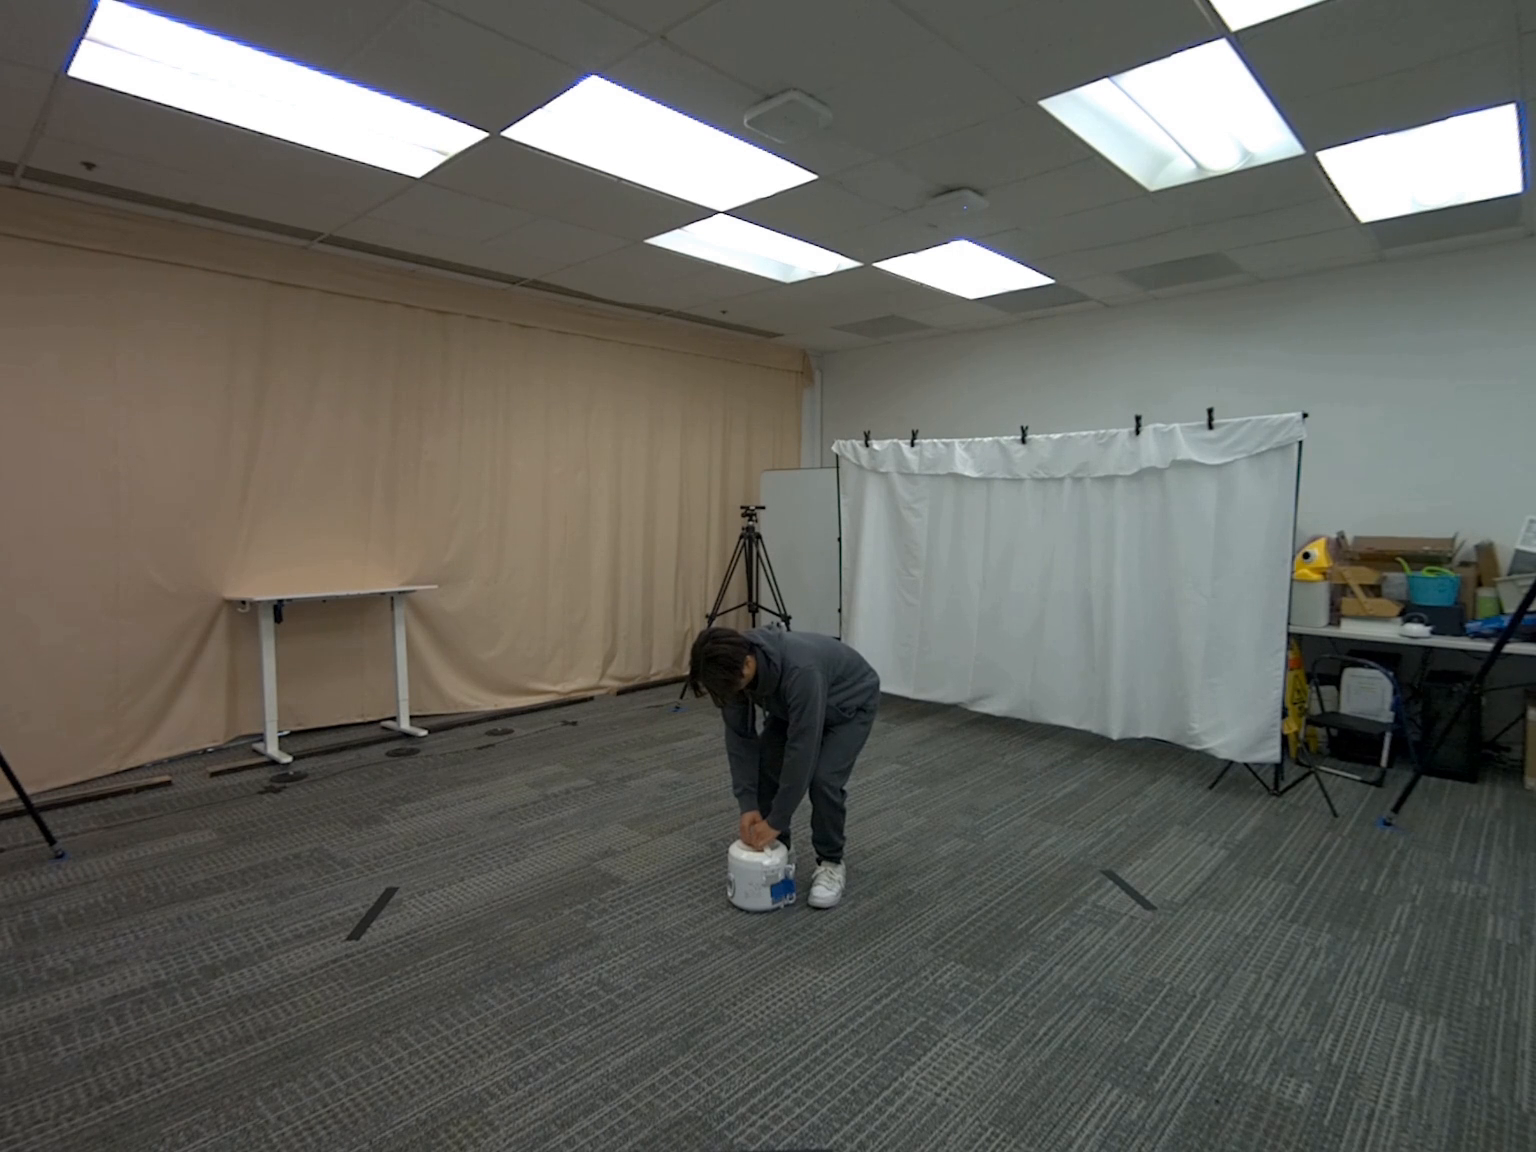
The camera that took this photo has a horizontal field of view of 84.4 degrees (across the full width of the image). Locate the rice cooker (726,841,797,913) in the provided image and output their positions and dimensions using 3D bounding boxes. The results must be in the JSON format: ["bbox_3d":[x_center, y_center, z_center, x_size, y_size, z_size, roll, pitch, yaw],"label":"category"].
[{"bbox_3d":[-0.036,1.029,2.953,0.212,0.232,0.226,0,4,-25],"label":"rice cooker"}]
